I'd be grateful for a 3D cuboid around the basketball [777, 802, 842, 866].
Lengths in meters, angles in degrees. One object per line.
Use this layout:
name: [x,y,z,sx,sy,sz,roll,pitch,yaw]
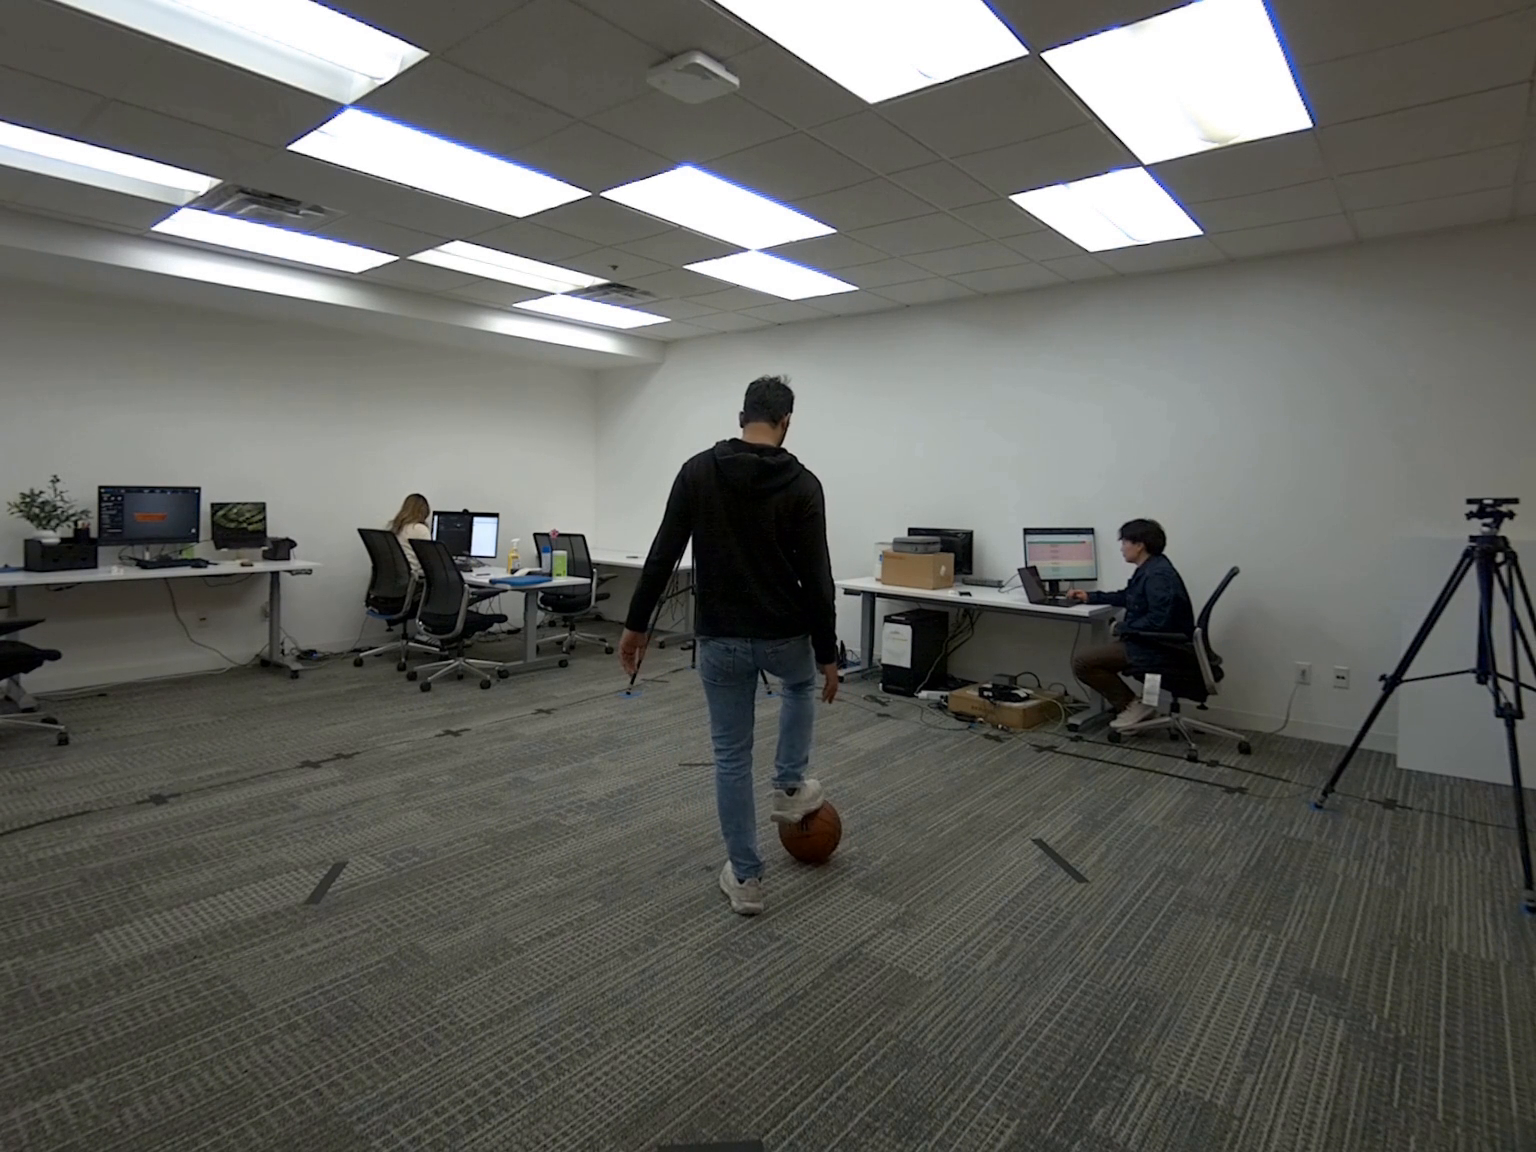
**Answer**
basketball: [0.150,0.944,3.228,0.235,0.235,0.237,1,4,-2]
